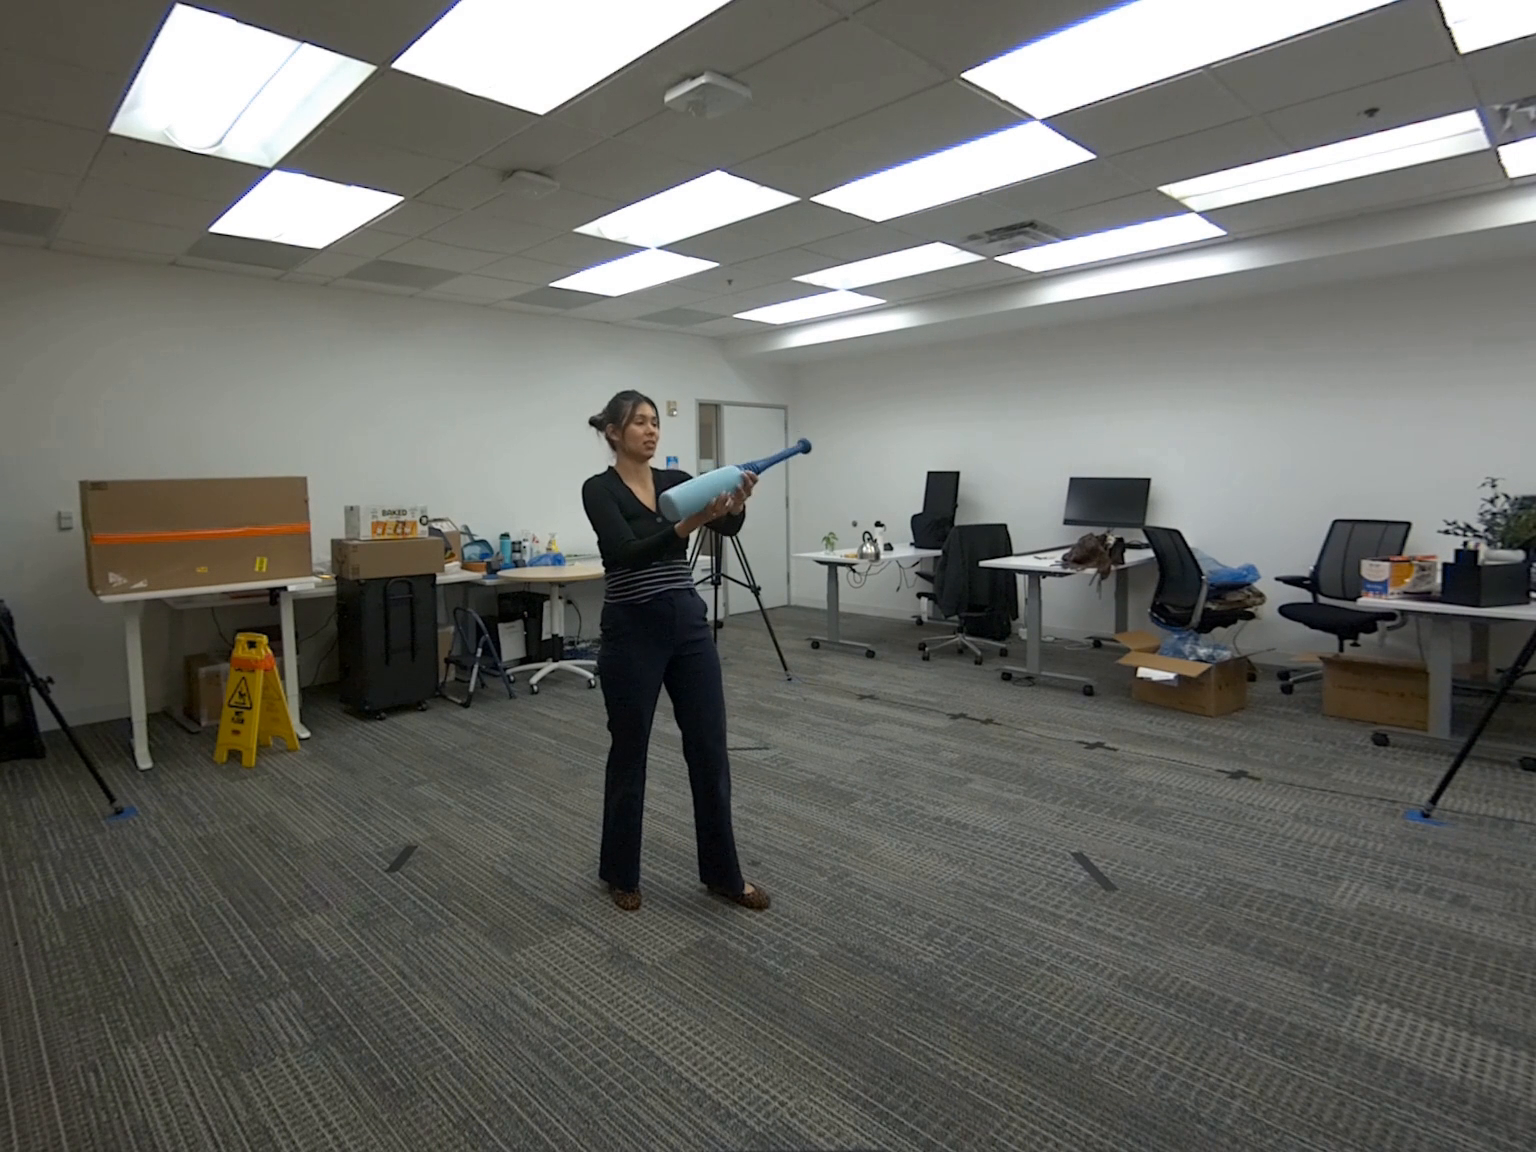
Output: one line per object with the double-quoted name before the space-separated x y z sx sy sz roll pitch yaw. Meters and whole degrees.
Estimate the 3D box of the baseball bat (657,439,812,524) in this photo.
"baseball bat" -0.063 -0.288 2.399 0.536 0.087 0.092 -30 21 -35
